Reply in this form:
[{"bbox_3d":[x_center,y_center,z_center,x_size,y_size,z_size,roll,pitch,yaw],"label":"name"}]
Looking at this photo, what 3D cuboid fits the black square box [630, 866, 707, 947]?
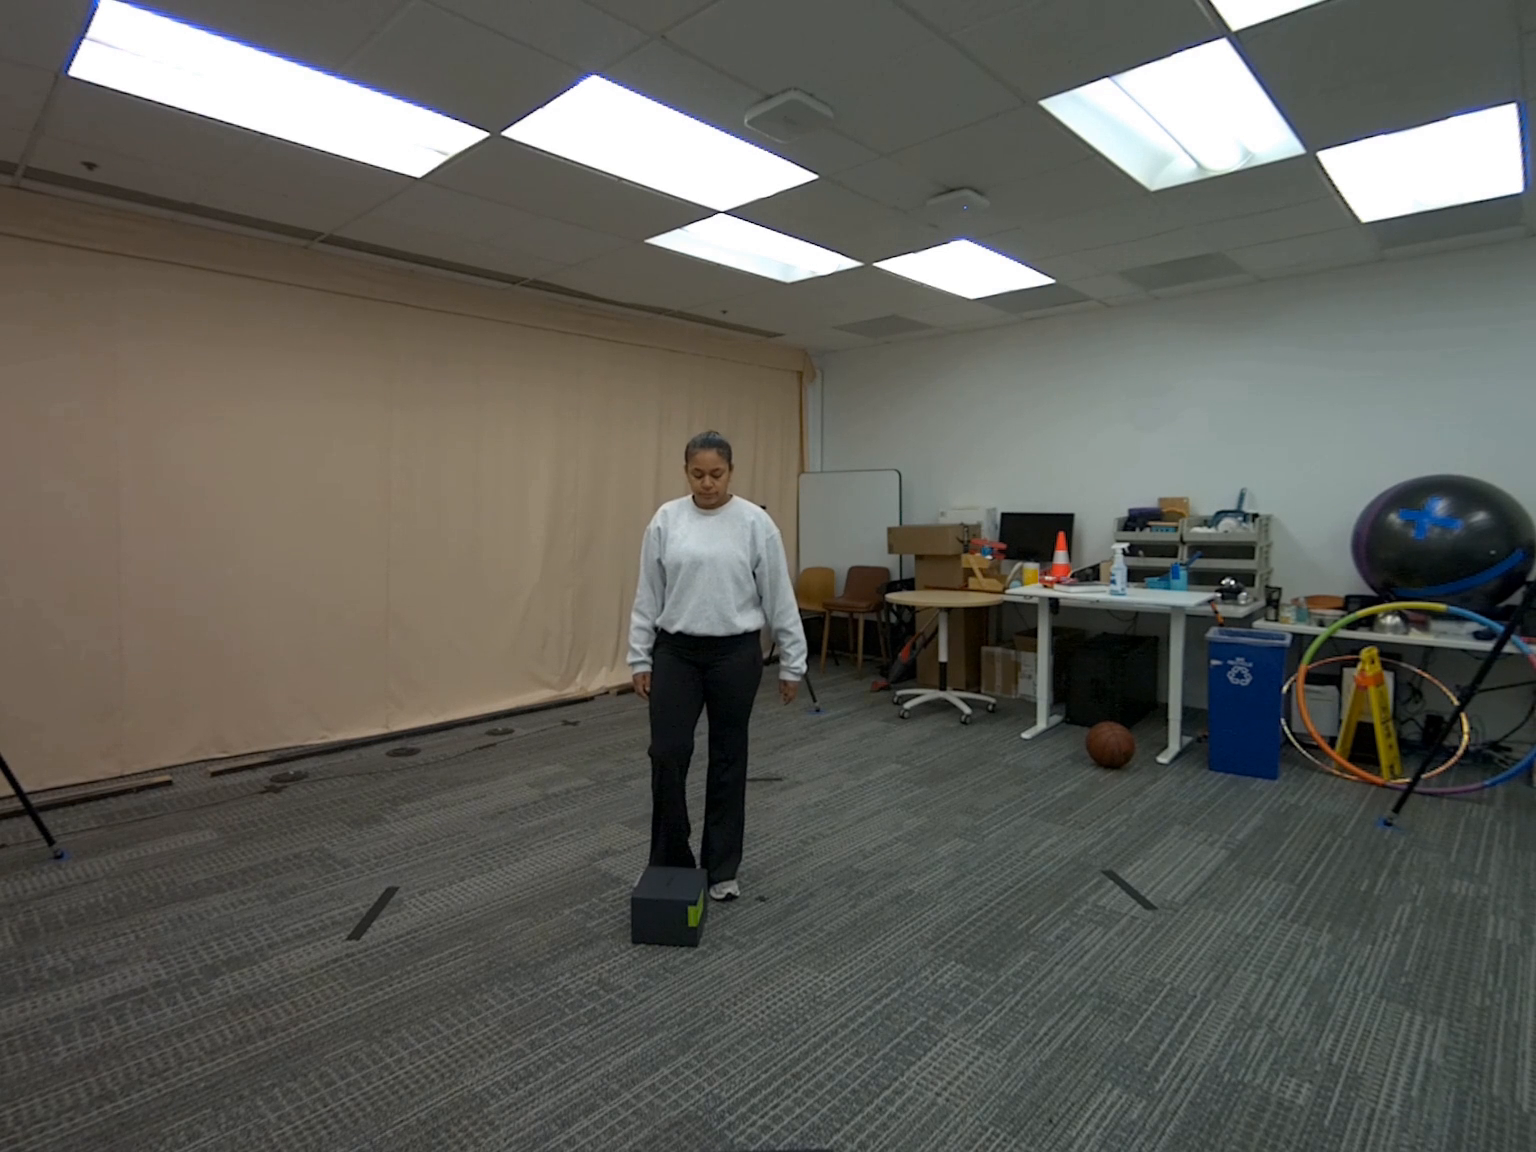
[{"bbox_3d":[-0.321,1.073,2.769,0.218,0.155,0.227,0,4,6],"label":"black square box"}]
